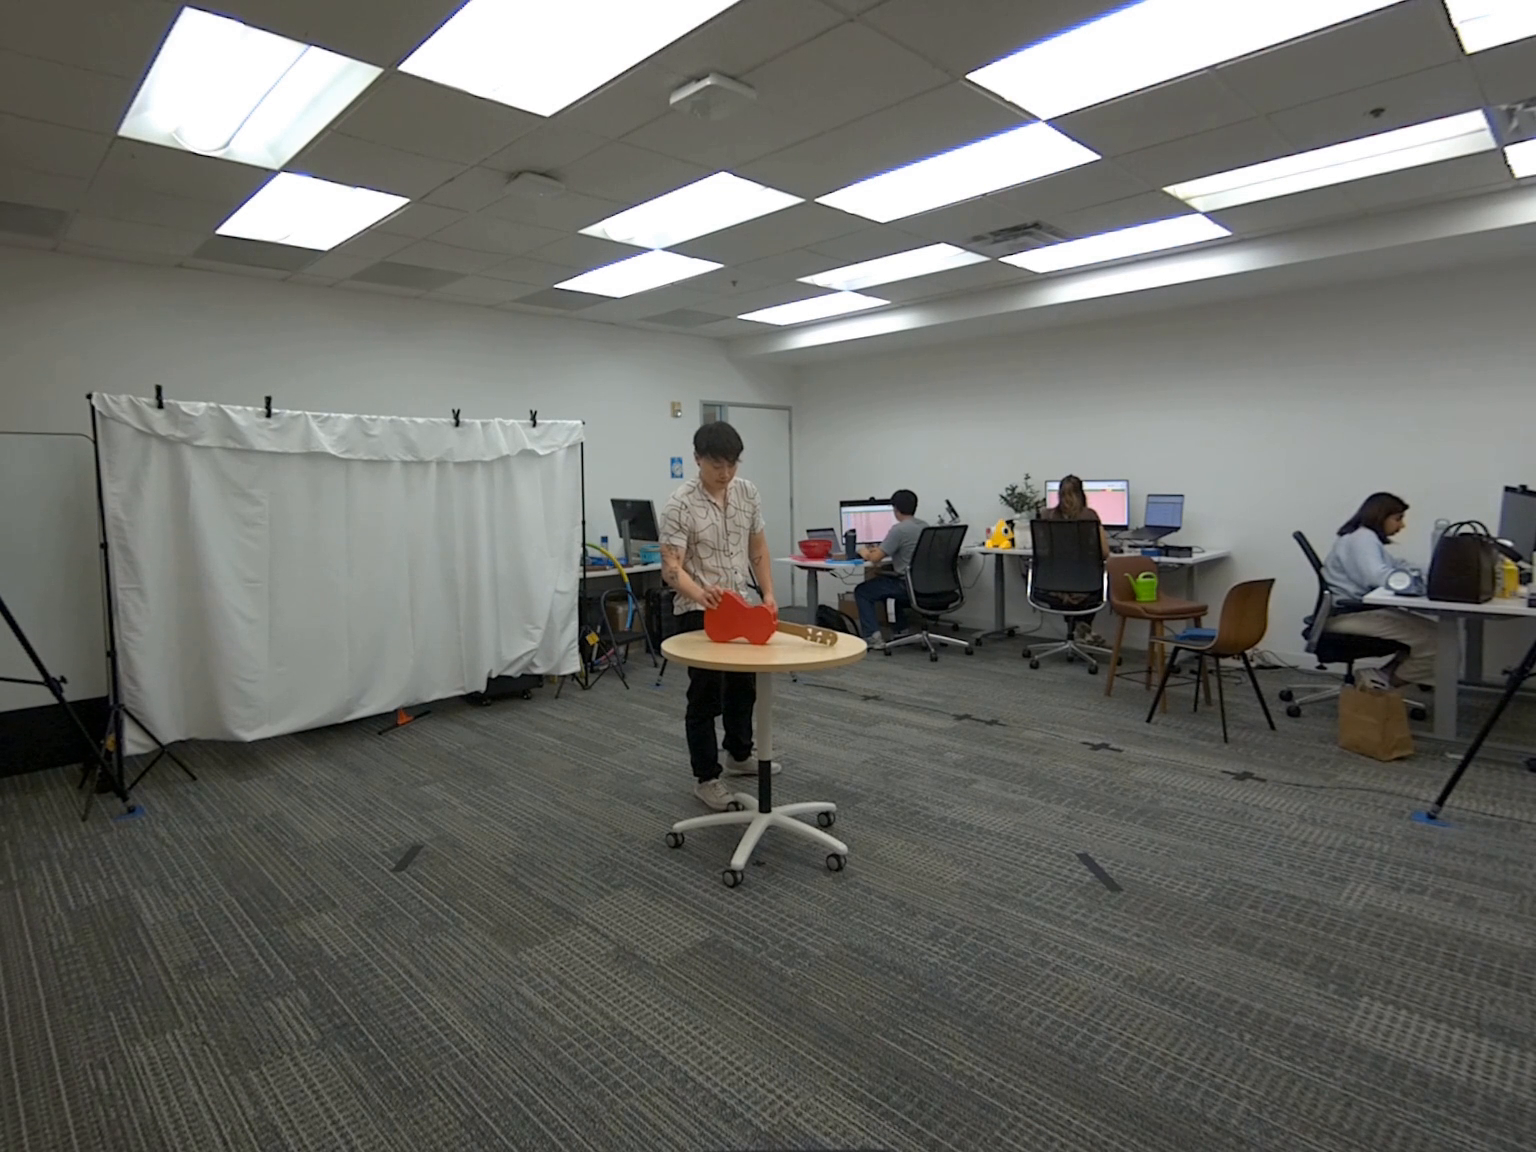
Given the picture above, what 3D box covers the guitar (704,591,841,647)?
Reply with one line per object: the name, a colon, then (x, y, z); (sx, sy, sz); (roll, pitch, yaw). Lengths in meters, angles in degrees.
guitar: (0.013, 0.158, 3.163); (0.506, 0.192, 0.070); (2, 5, 17)
